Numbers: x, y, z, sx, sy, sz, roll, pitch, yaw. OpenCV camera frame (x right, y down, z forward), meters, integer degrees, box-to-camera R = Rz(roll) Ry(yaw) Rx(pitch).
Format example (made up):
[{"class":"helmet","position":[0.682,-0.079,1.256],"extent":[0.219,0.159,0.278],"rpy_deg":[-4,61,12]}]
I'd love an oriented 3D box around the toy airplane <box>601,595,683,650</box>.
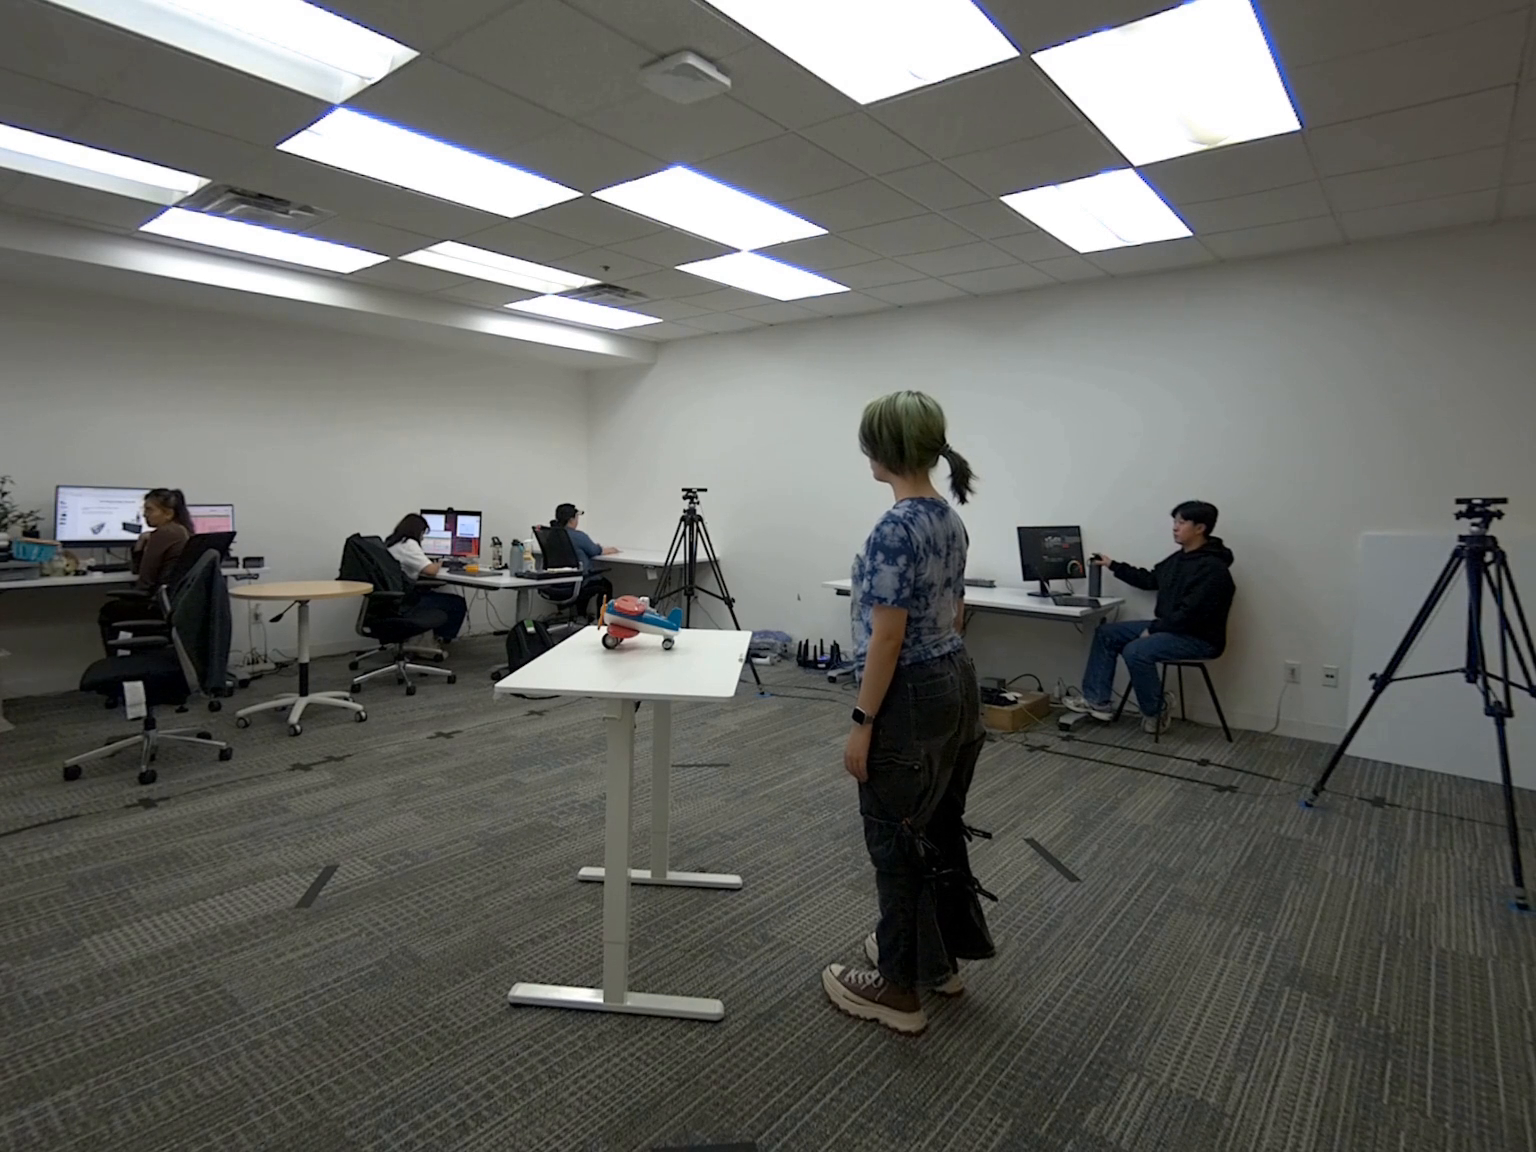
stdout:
[{"class":"toy airplane","position":[-0.415,0.148,2.716],"extent":[0.253,0.156,0.258],"rpy_deg":[-2,5,-26]}]
